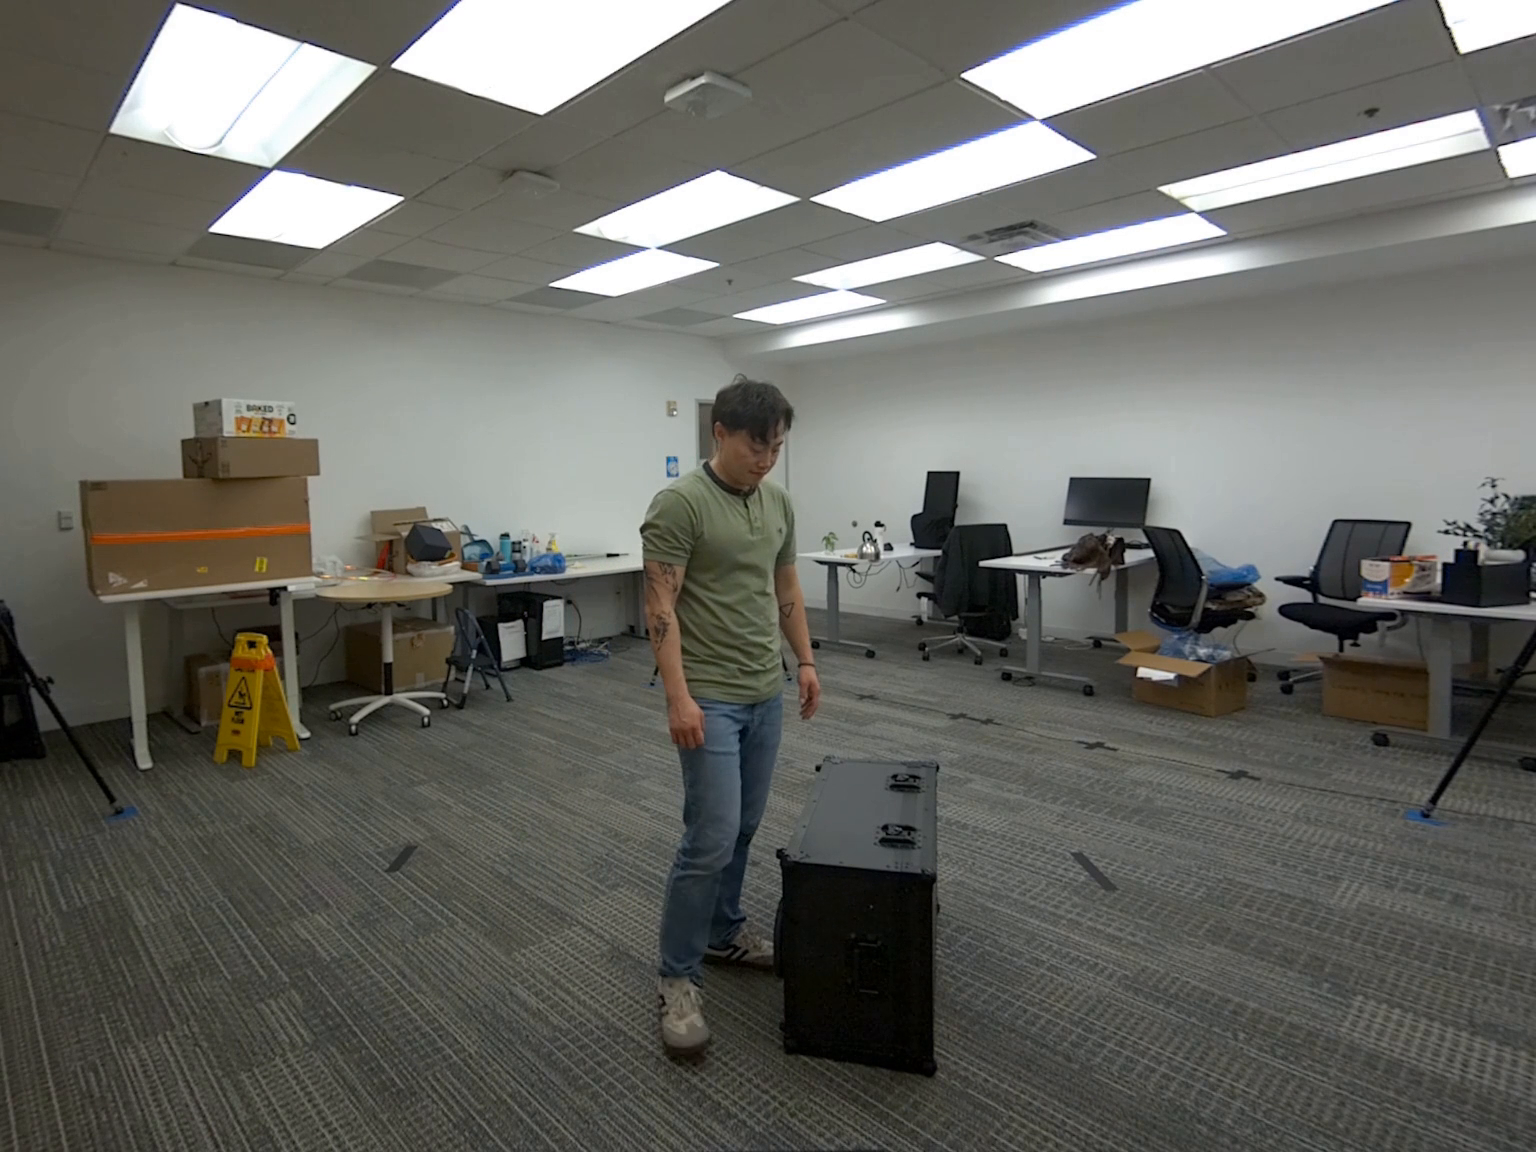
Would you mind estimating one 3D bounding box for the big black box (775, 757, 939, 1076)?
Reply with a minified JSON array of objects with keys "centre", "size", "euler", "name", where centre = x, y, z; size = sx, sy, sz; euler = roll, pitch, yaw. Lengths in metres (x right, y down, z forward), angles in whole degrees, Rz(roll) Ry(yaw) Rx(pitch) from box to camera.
[{"centre":[0.276,0.876,2.373],"size":[0.401,0.519,0.855],"euler":[0,6,11],"name":"big black box"}]
